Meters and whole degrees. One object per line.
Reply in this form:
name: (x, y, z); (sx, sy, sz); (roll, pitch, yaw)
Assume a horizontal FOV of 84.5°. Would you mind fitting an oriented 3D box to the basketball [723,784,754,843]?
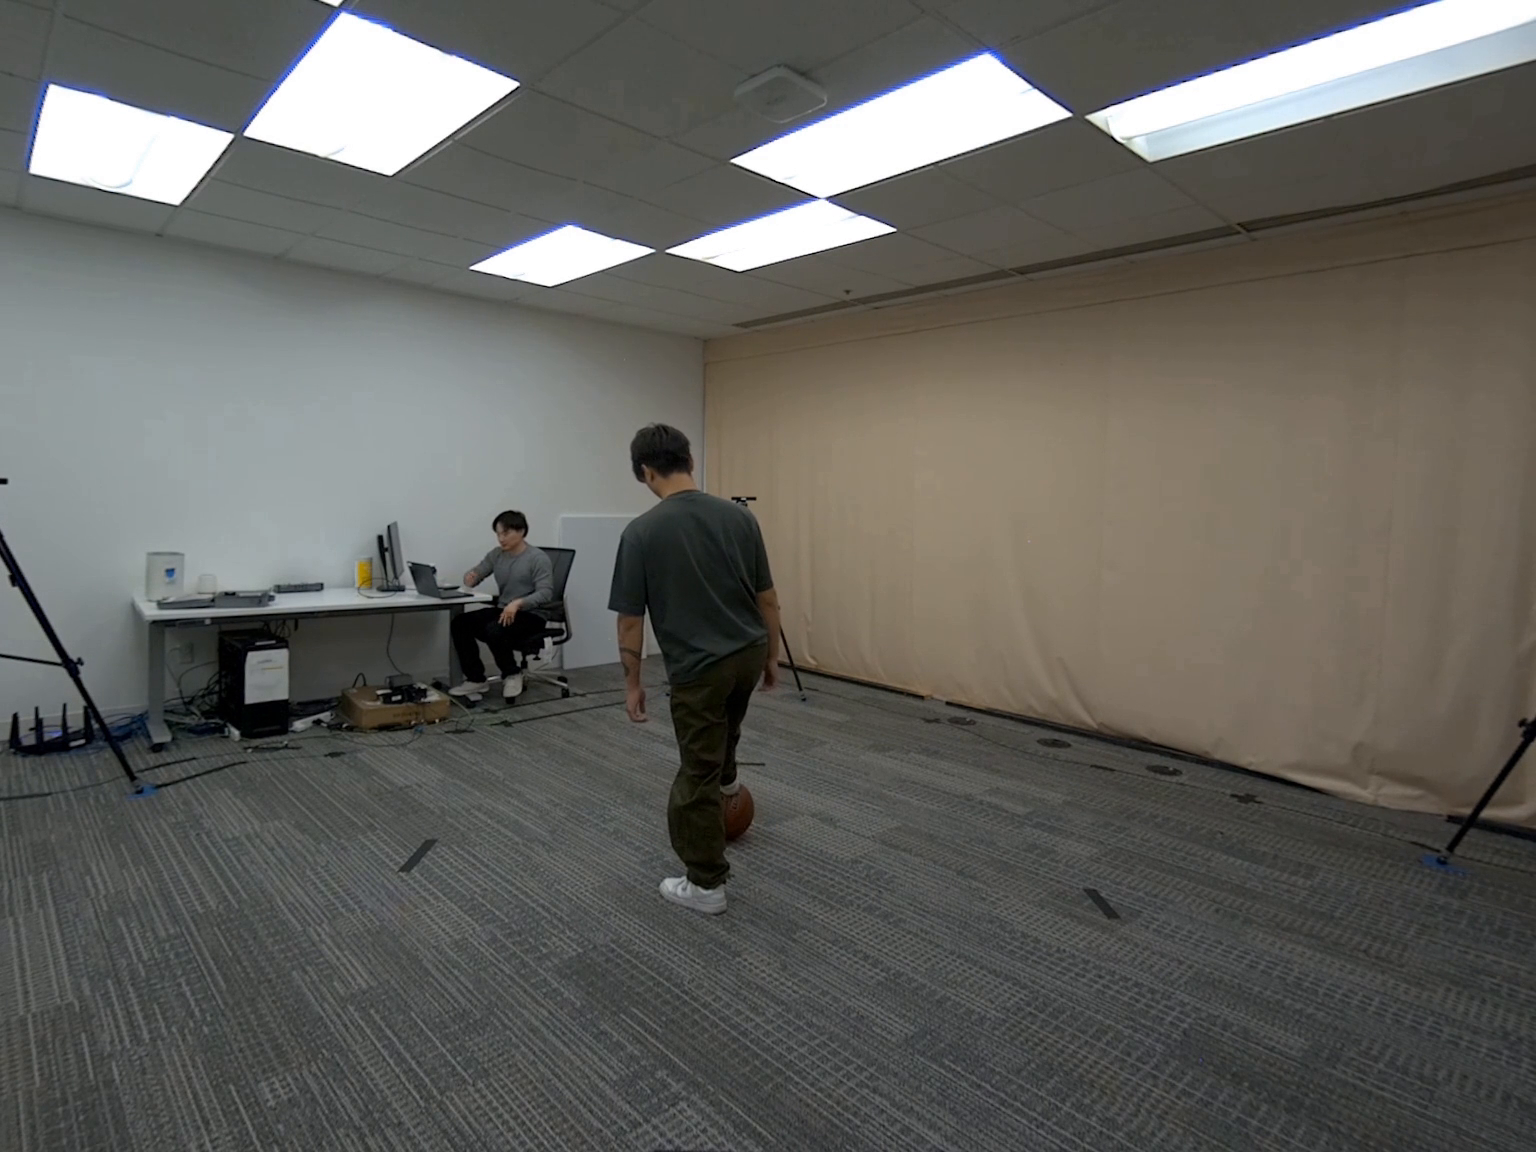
basketball: (-0.185, 0.959, 3.447); (0.236, 0.235, 0.237); (1, 4, -1)
